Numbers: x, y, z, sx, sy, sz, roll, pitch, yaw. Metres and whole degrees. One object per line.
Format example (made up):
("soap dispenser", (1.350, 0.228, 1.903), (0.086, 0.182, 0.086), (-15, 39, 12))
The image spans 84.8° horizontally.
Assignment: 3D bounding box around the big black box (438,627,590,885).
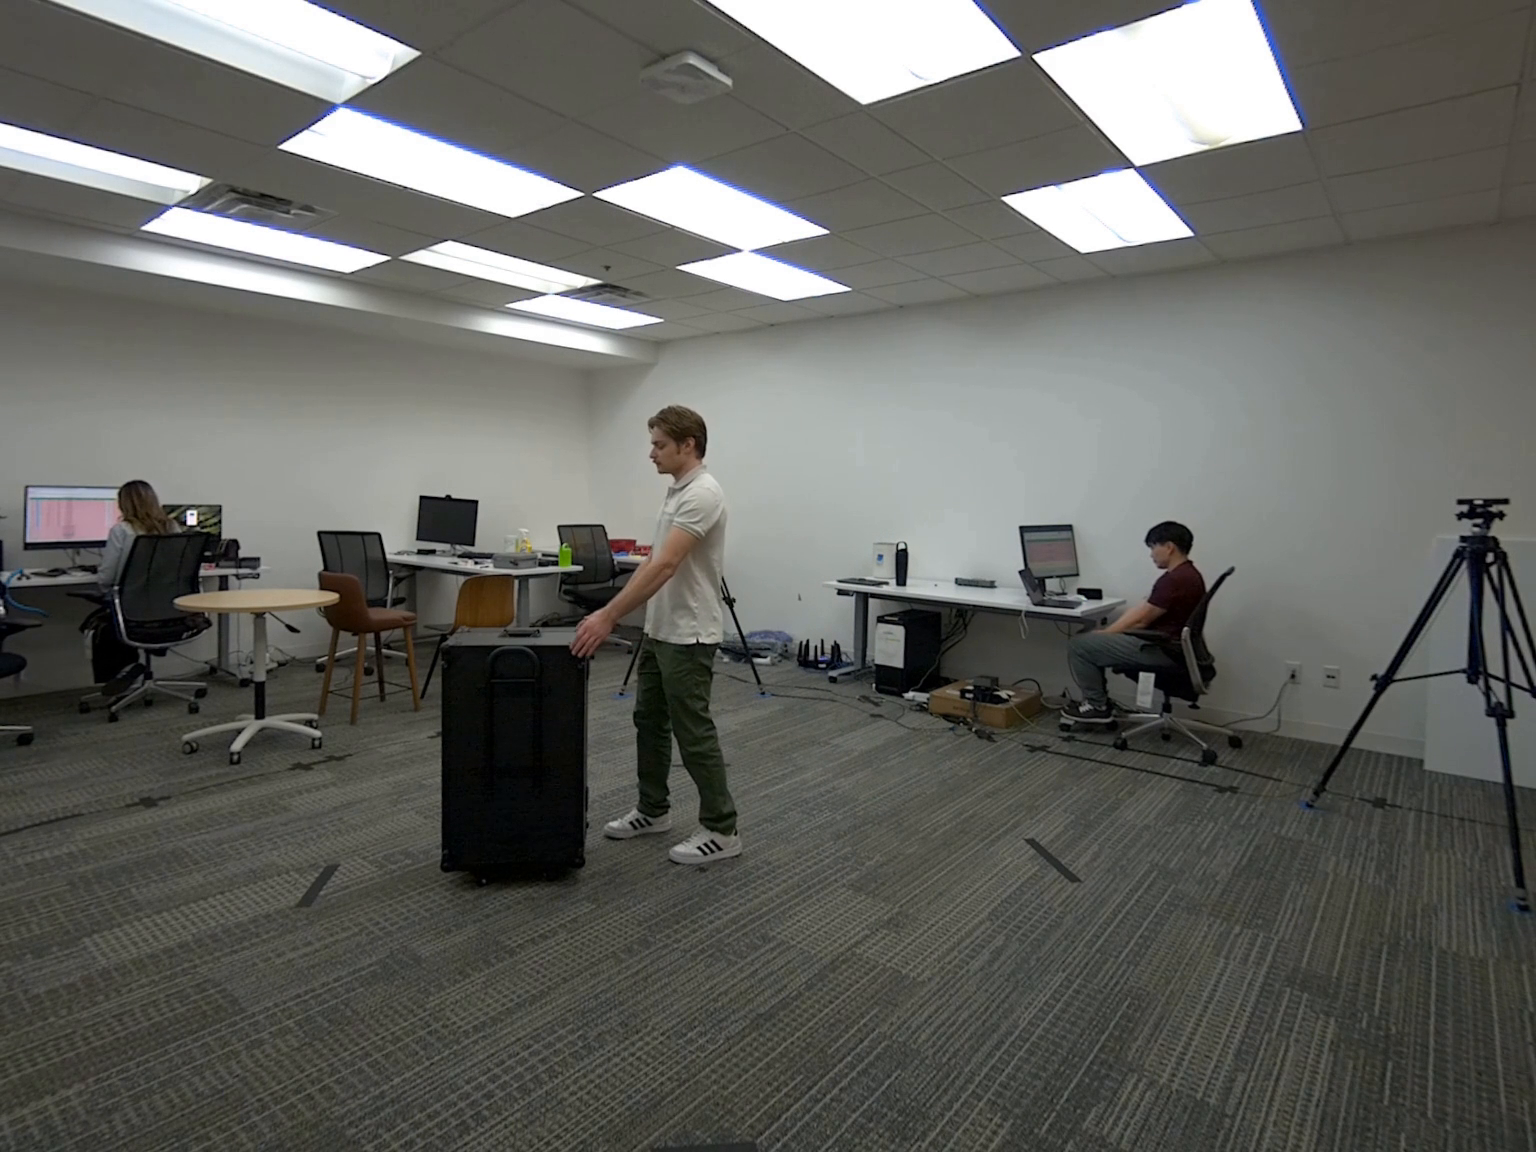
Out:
("big black box", (-0.907, 0.638, 3.076), (0.520, 0.866, 0.389), (0, 3, -6))
